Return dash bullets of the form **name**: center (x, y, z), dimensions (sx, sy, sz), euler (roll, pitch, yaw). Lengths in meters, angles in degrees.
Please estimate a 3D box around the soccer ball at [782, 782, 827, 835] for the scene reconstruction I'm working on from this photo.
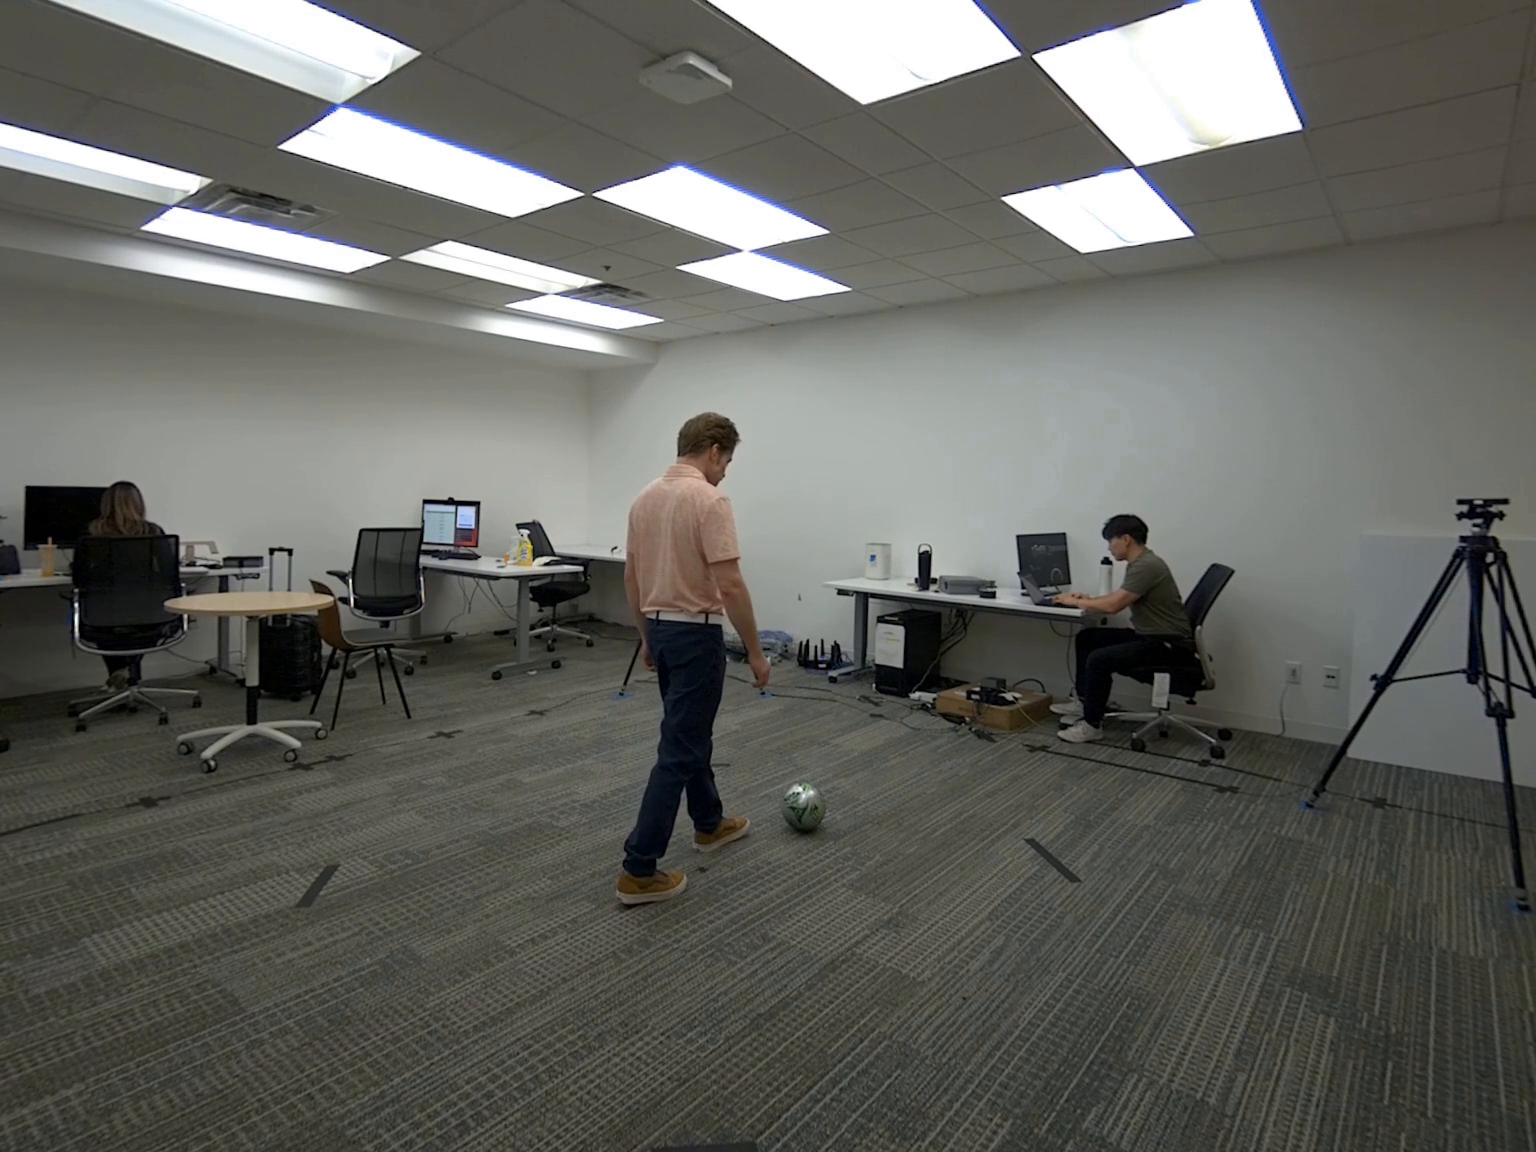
- **soccer ball**: center (0.138, 0.944, 3.497), dimensions (0.187, 0.187, 0.188), euler (1, 4, -2)
